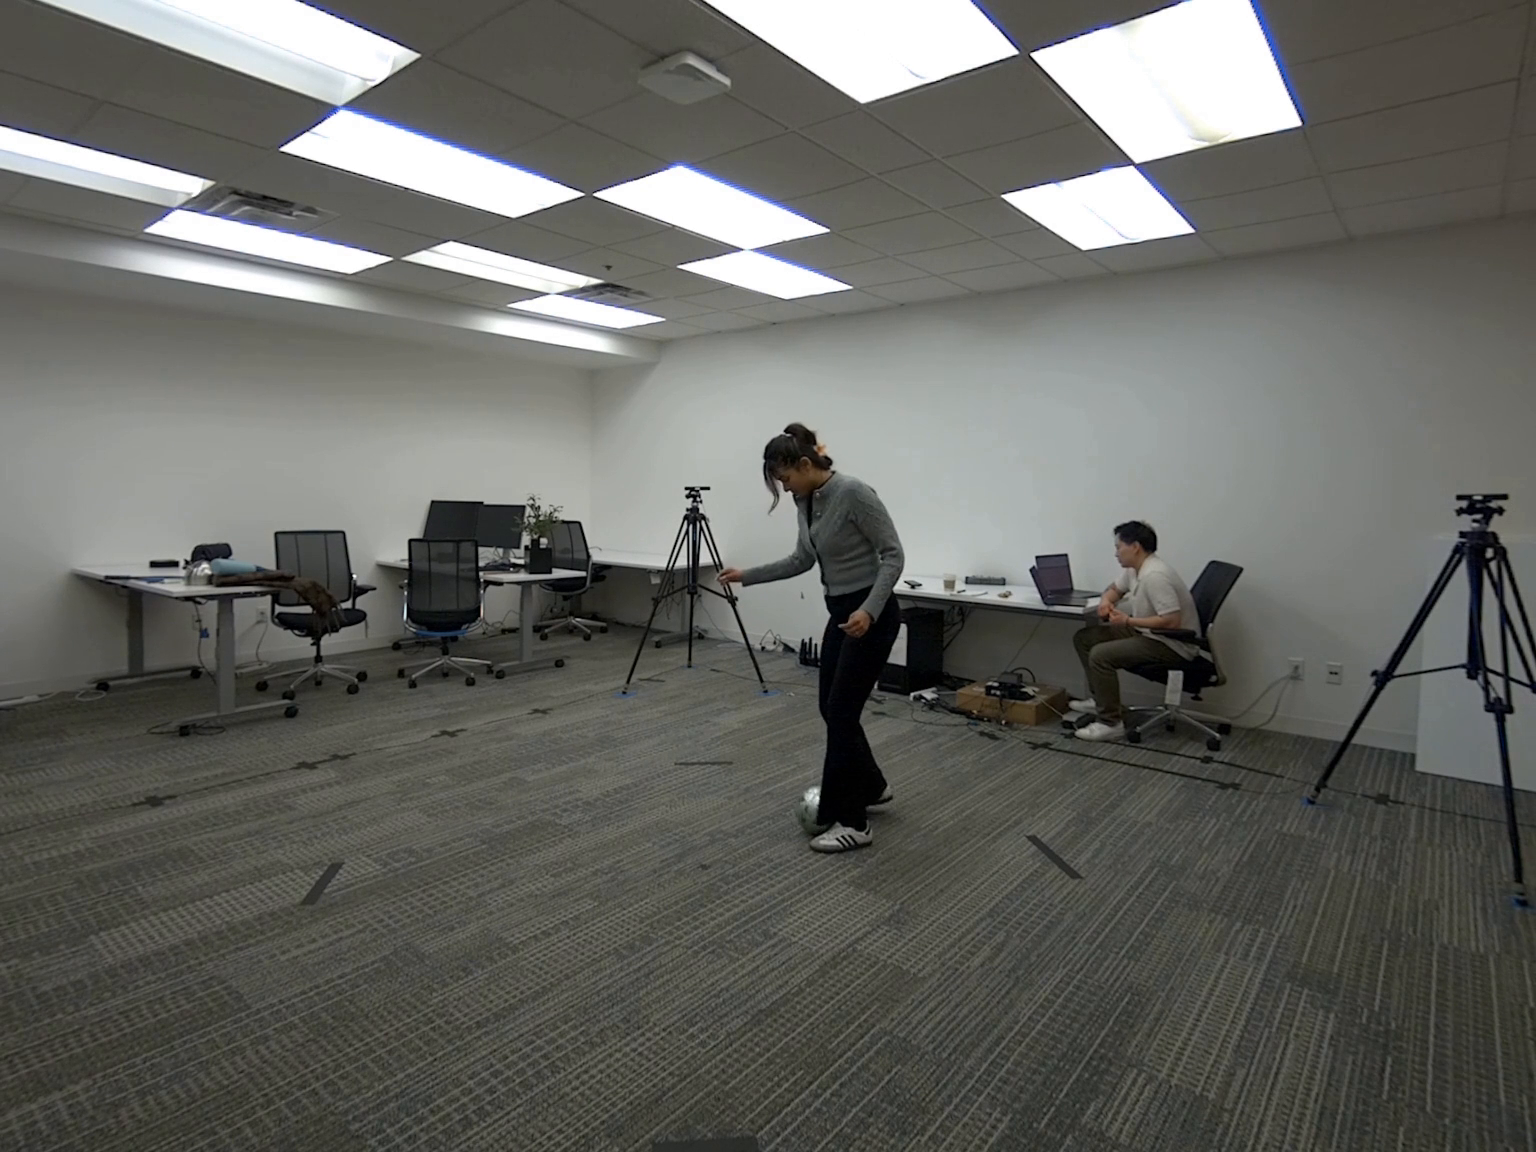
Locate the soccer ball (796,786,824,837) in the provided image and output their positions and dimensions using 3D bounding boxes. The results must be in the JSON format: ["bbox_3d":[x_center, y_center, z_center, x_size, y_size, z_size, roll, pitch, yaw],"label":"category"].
[{"bbox_3d":[0.195,0.947,3.442,0.187,0.187,0.188,1,4,-2],"label":"soccer ball"}]
